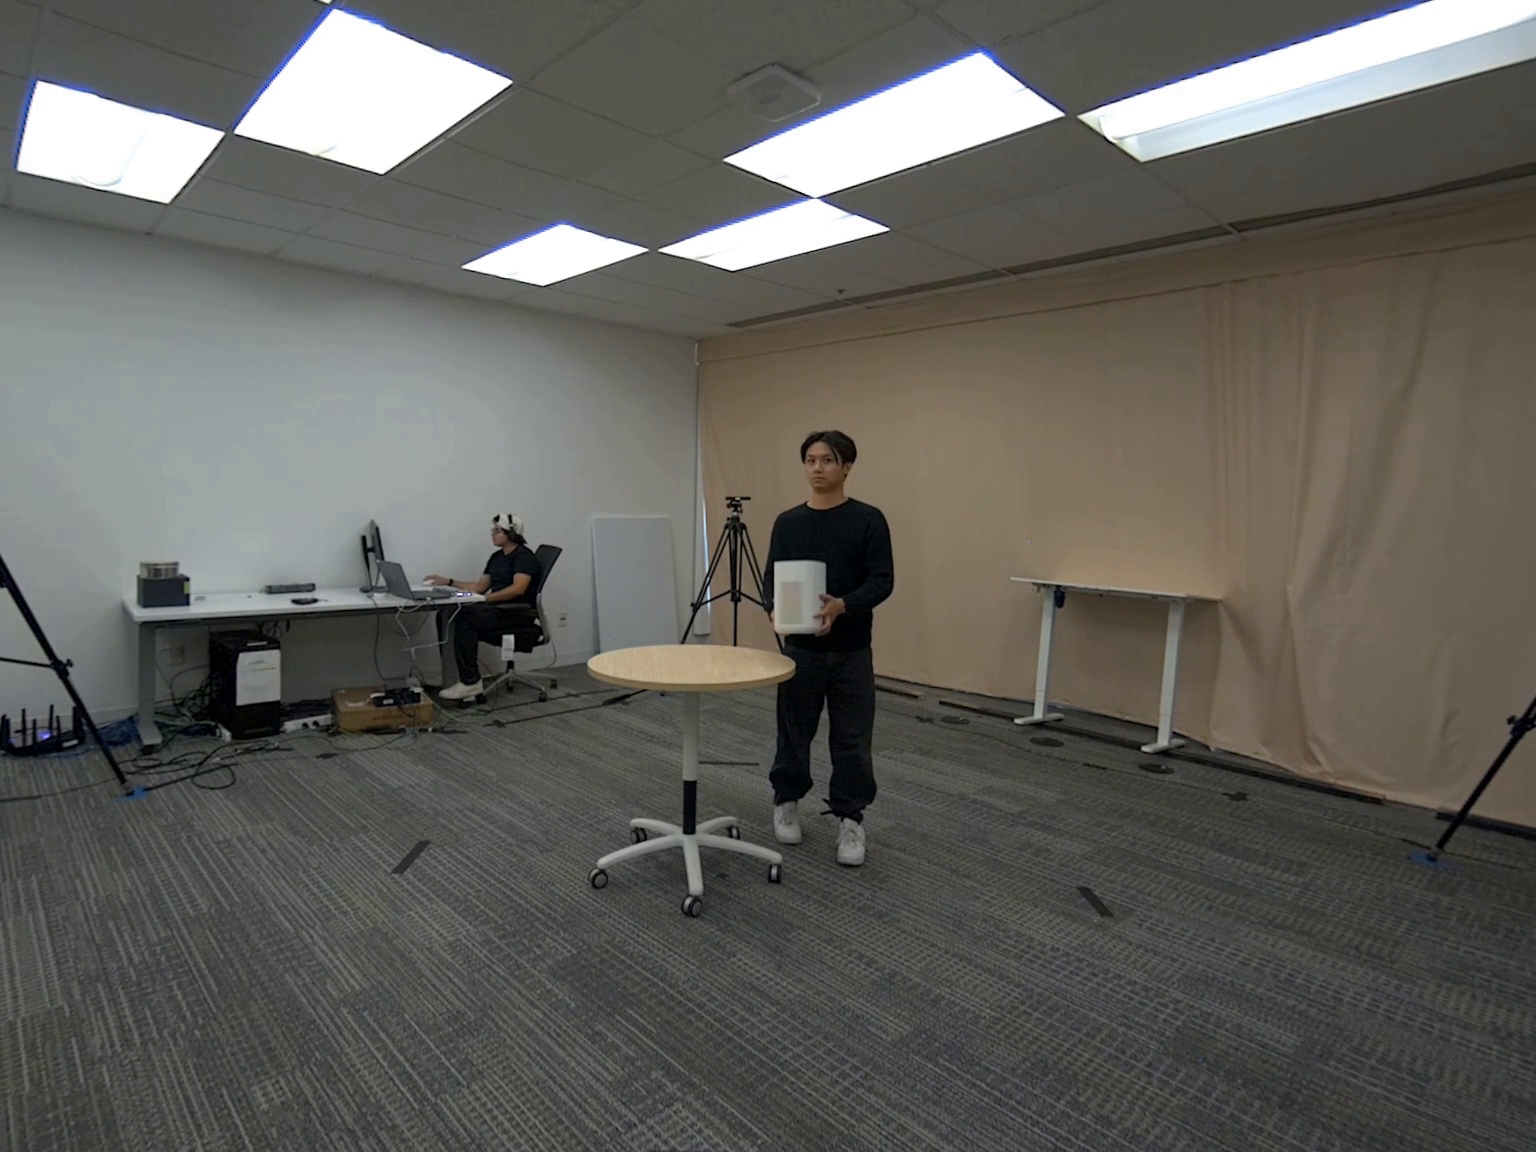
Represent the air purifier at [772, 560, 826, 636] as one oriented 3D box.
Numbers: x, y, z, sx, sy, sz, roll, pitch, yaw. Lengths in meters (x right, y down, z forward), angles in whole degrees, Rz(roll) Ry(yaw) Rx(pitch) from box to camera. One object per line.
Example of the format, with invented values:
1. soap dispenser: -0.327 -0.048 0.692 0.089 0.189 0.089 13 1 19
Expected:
1. air purifier: 0.109 0.083 3.123 0.174 0.266 0.167 -4 -6 25
